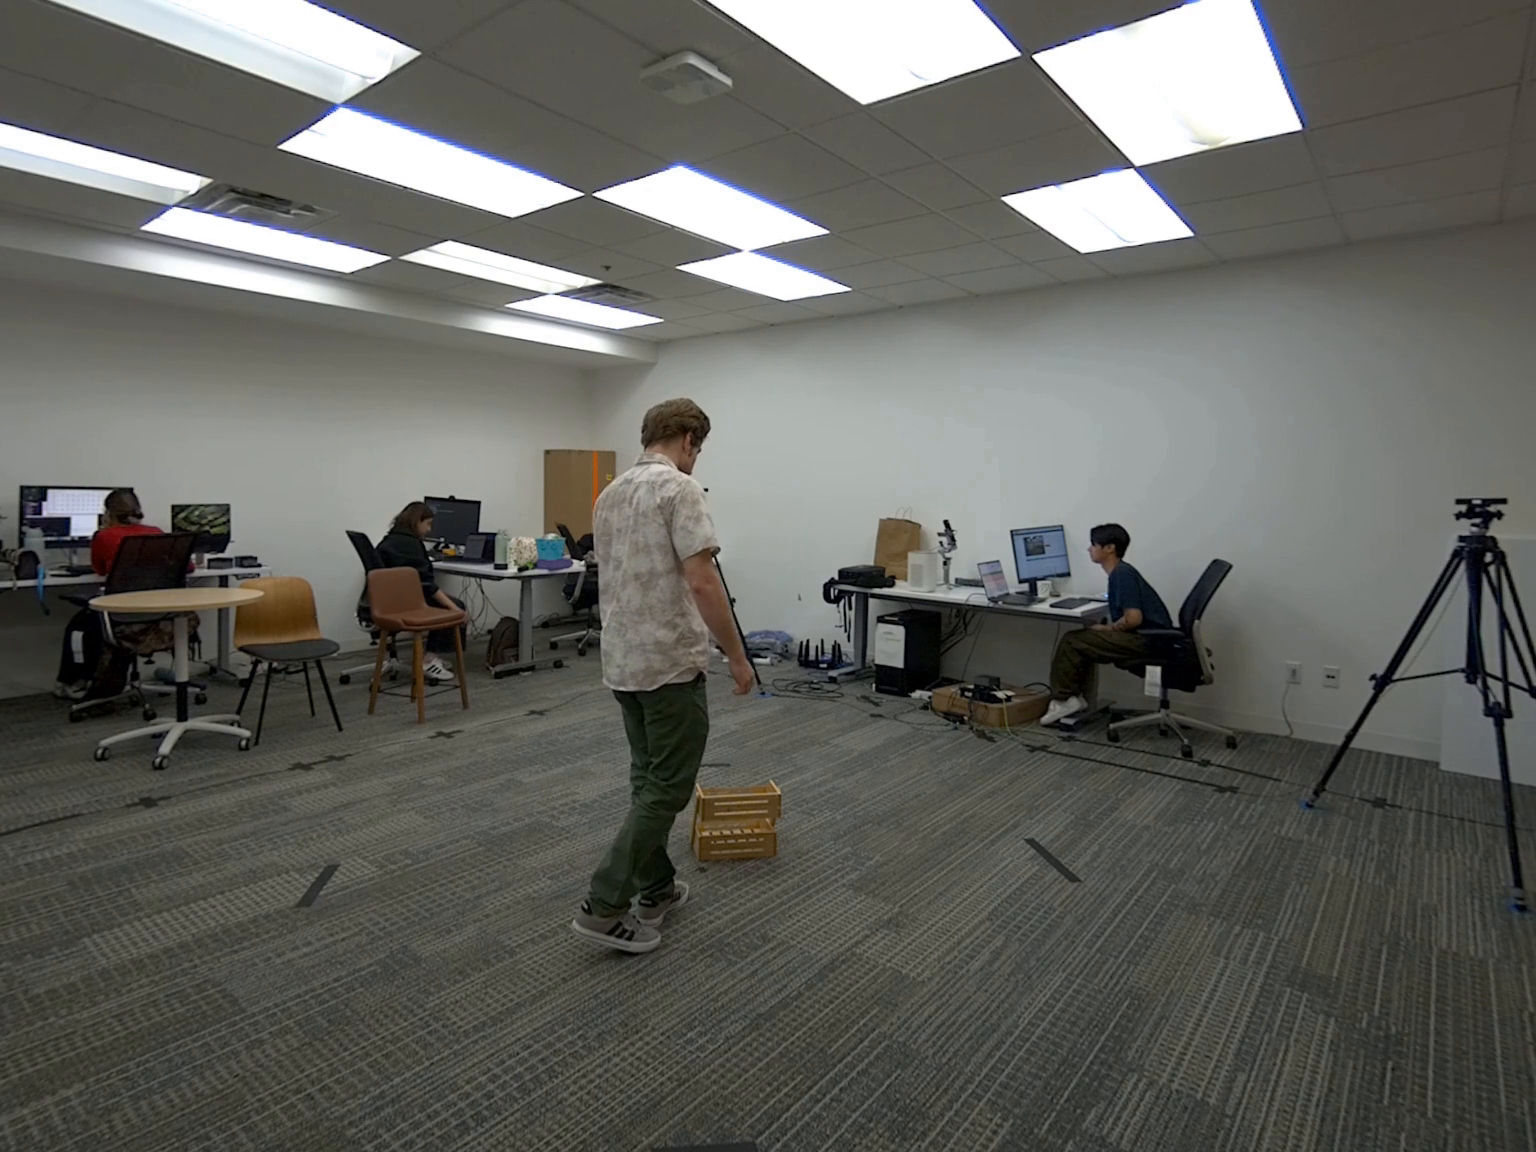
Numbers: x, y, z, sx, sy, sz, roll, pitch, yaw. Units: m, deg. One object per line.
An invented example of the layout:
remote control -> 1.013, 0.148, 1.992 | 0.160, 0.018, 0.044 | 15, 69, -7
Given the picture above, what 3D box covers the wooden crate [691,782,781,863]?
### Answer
wooden crate -> -0.143, 0.918, 3.303 | 0.320, 0.272, 0.307 | 0, 4, -13
